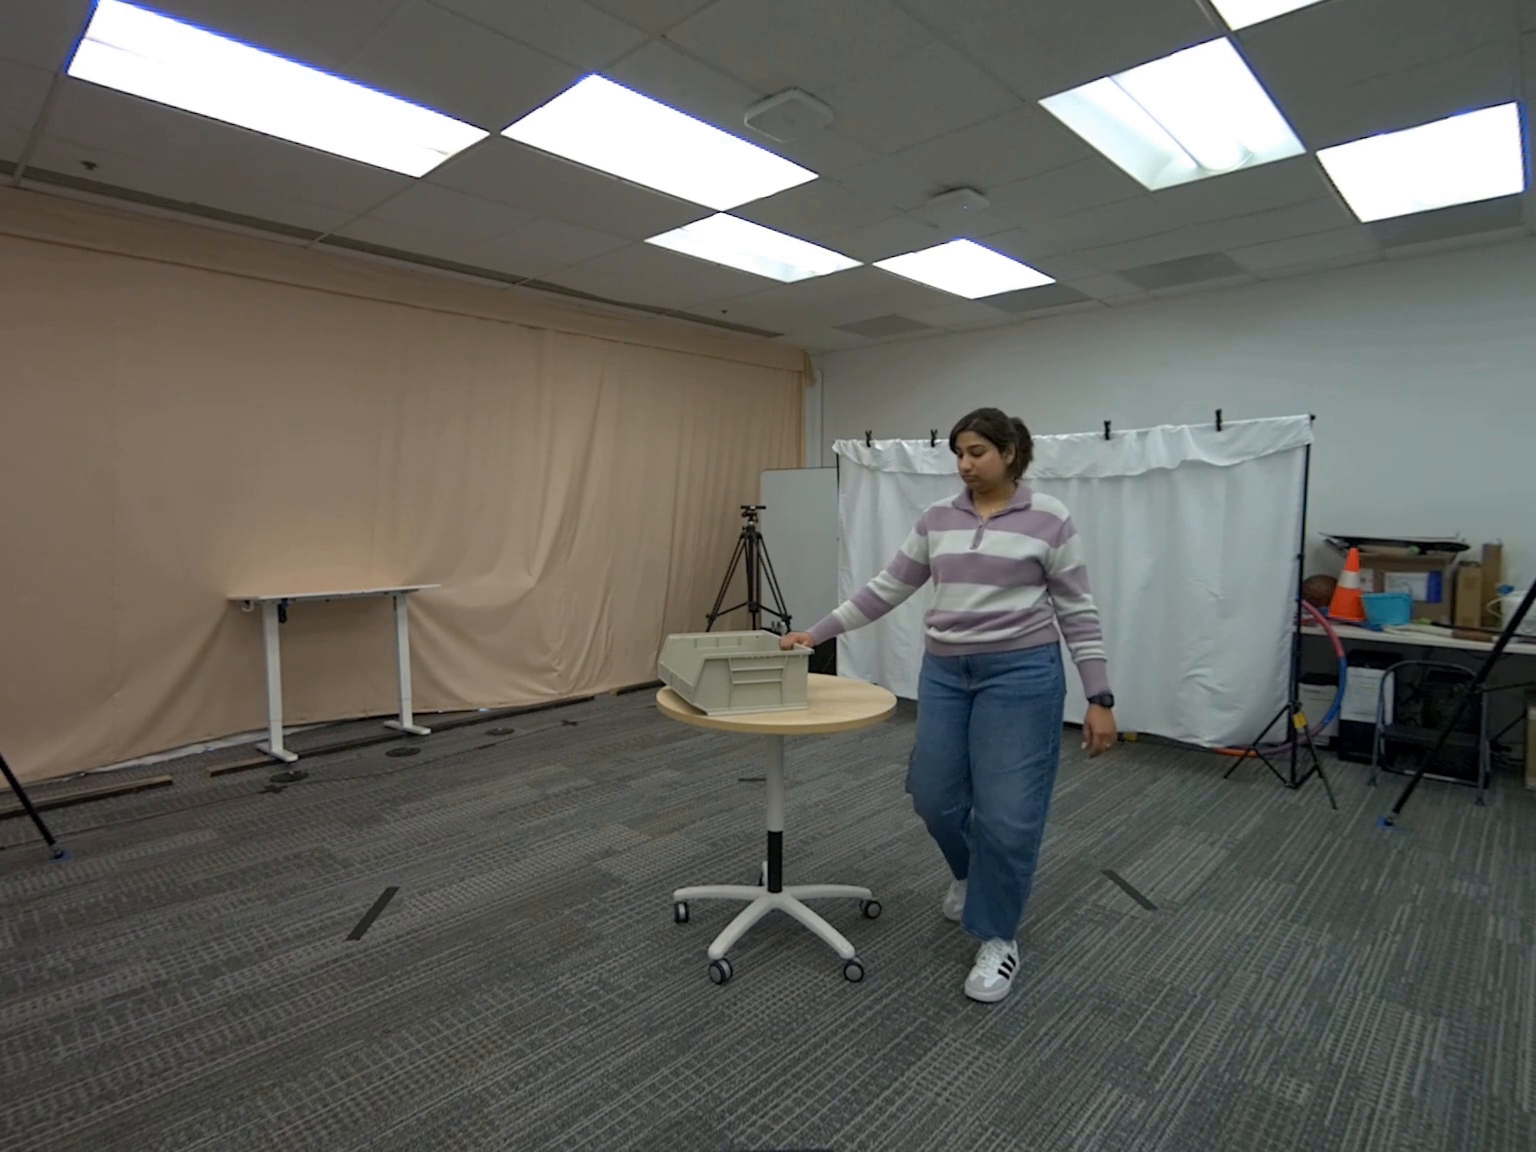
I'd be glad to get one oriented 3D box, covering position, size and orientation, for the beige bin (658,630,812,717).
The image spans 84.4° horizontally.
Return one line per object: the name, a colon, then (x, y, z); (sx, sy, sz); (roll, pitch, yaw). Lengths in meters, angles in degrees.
beige bin: (-0.107, 0.294, 2.654); (0.370, 0.189, 0.431); (1, 3, -19)
